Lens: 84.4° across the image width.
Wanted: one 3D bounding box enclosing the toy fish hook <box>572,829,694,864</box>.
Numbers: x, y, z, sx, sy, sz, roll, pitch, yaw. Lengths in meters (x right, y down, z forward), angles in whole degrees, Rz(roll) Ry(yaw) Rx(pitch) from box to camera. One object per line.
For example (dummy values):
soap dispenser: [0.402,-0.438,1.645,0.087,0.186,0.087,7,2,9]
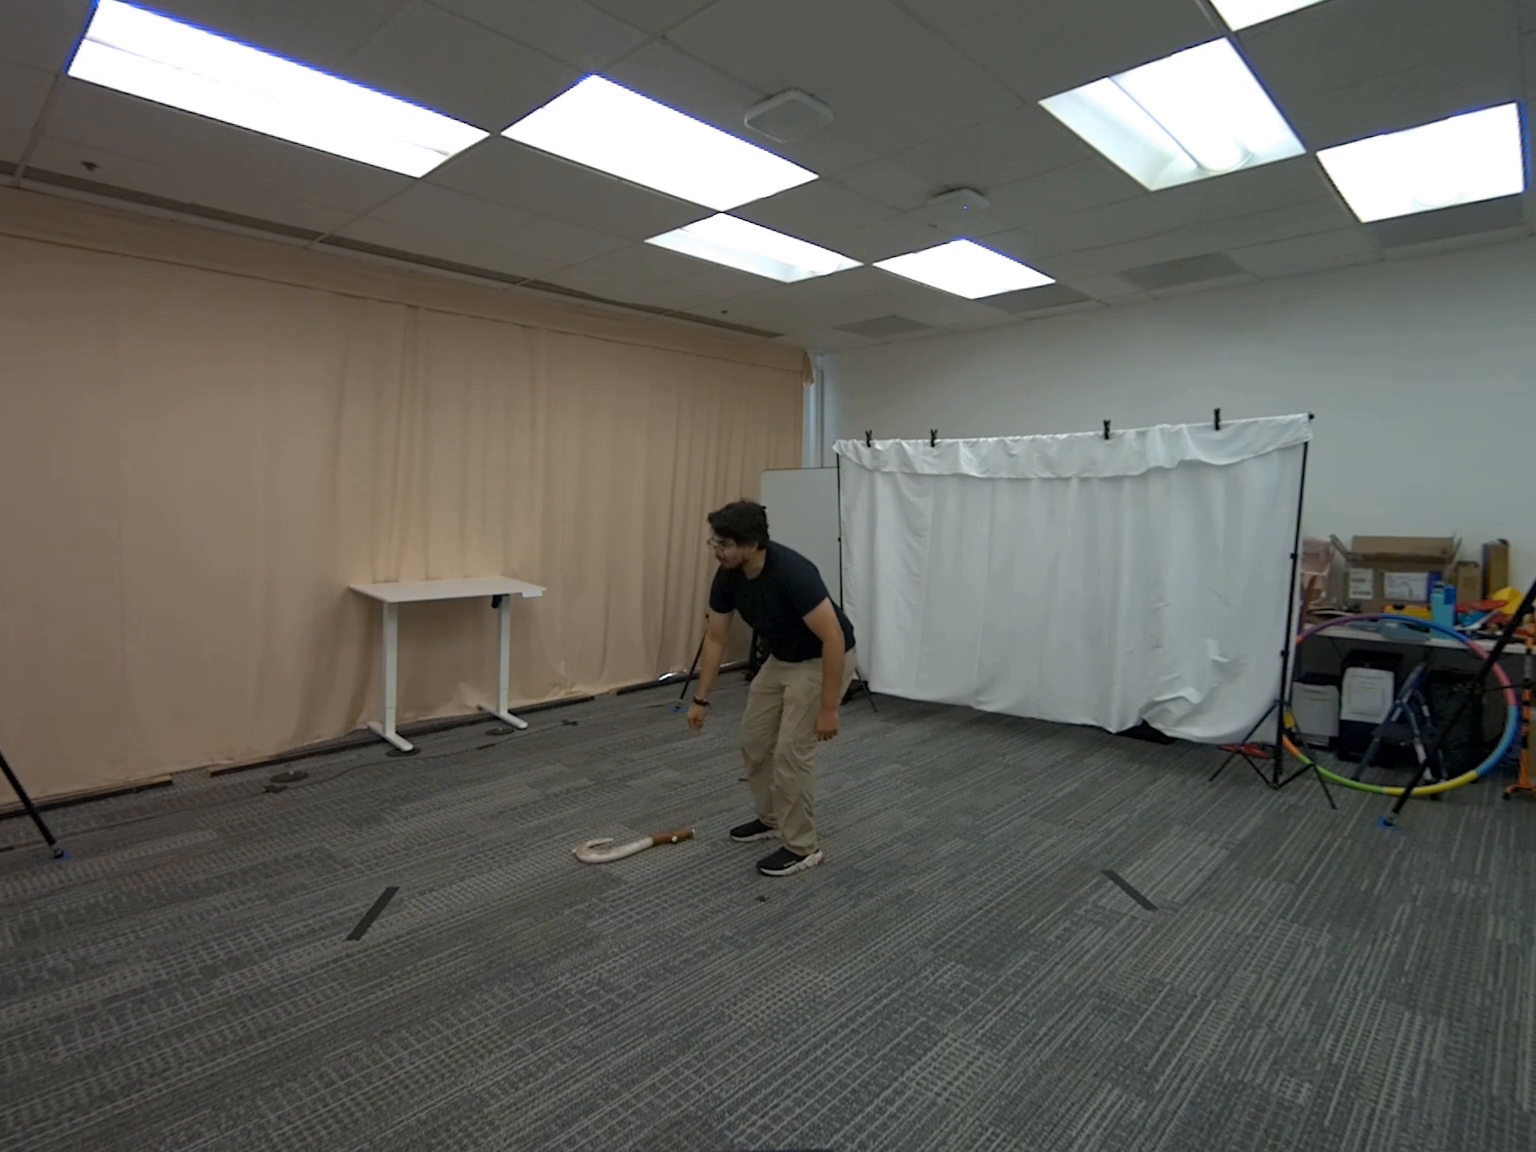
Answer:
toy fish hook: [-0.554,1.092,3.462,0.493,0.048,0.231,-3,5,-30]
